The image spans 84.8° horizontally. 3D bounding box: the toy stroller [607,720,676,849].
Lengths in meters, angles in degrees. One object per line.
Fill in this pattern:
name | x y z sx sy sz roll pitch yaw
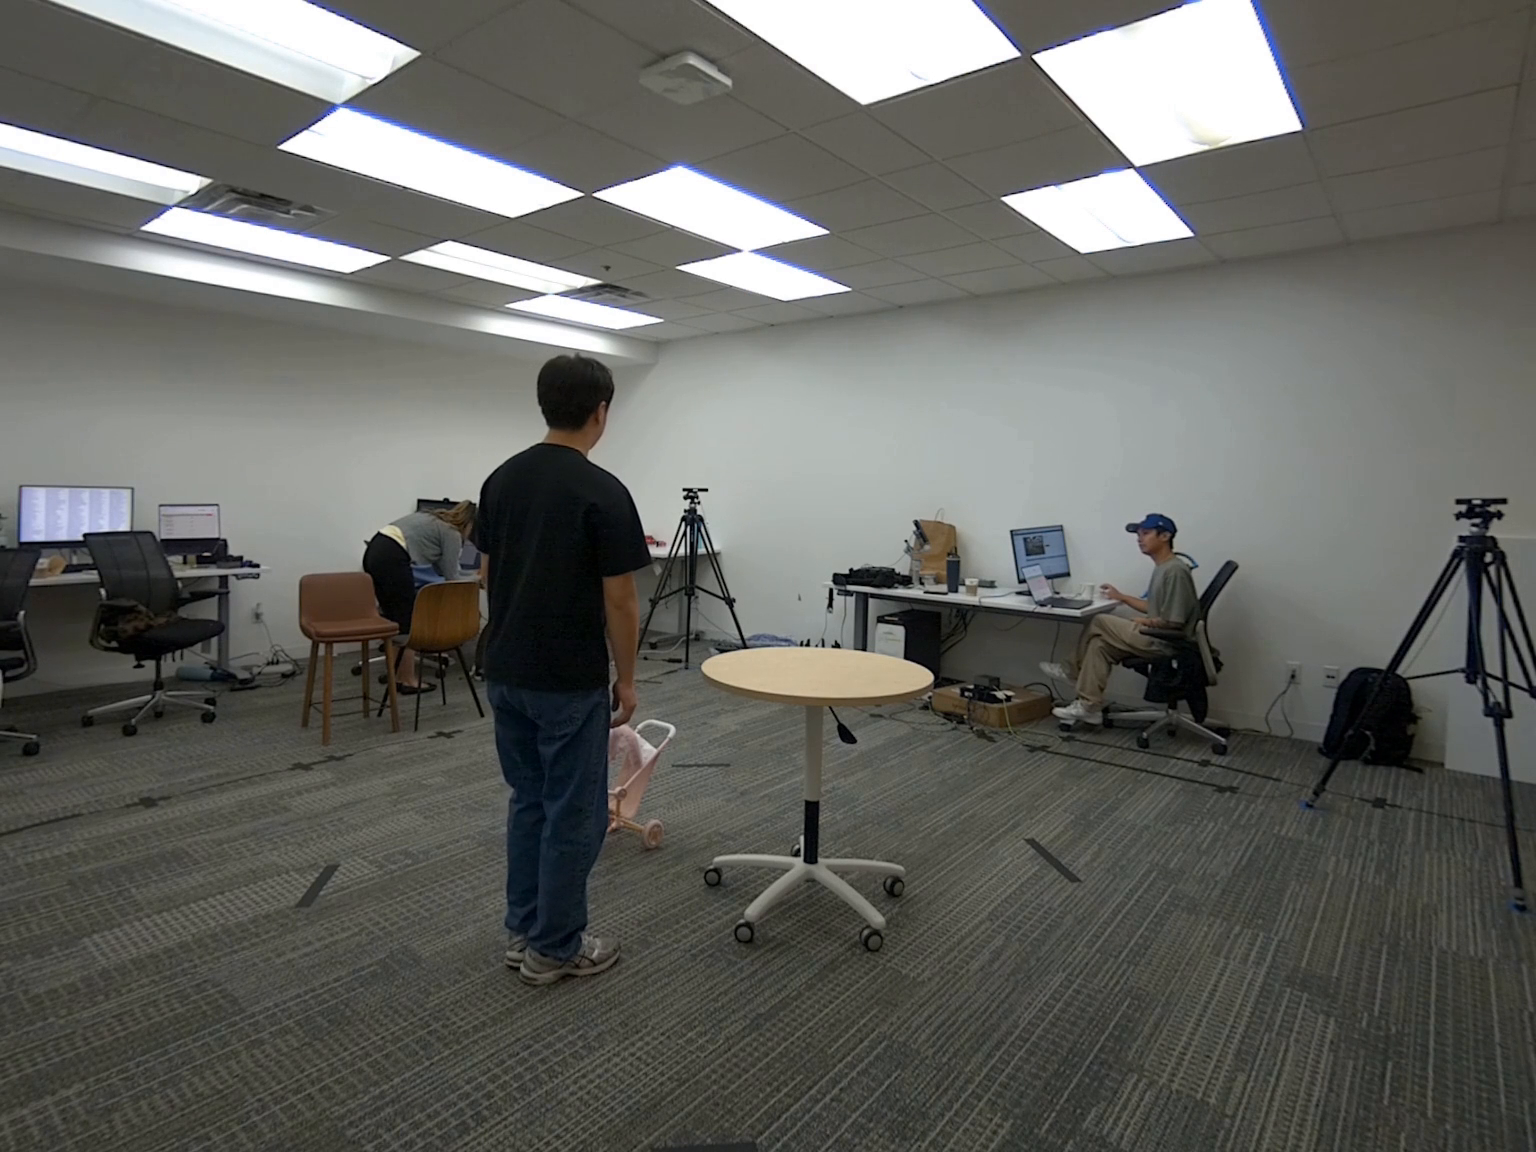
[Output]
toy stroller | -0.591 0.818 3.319 0.291 0.538 0.328 5 -10 45
